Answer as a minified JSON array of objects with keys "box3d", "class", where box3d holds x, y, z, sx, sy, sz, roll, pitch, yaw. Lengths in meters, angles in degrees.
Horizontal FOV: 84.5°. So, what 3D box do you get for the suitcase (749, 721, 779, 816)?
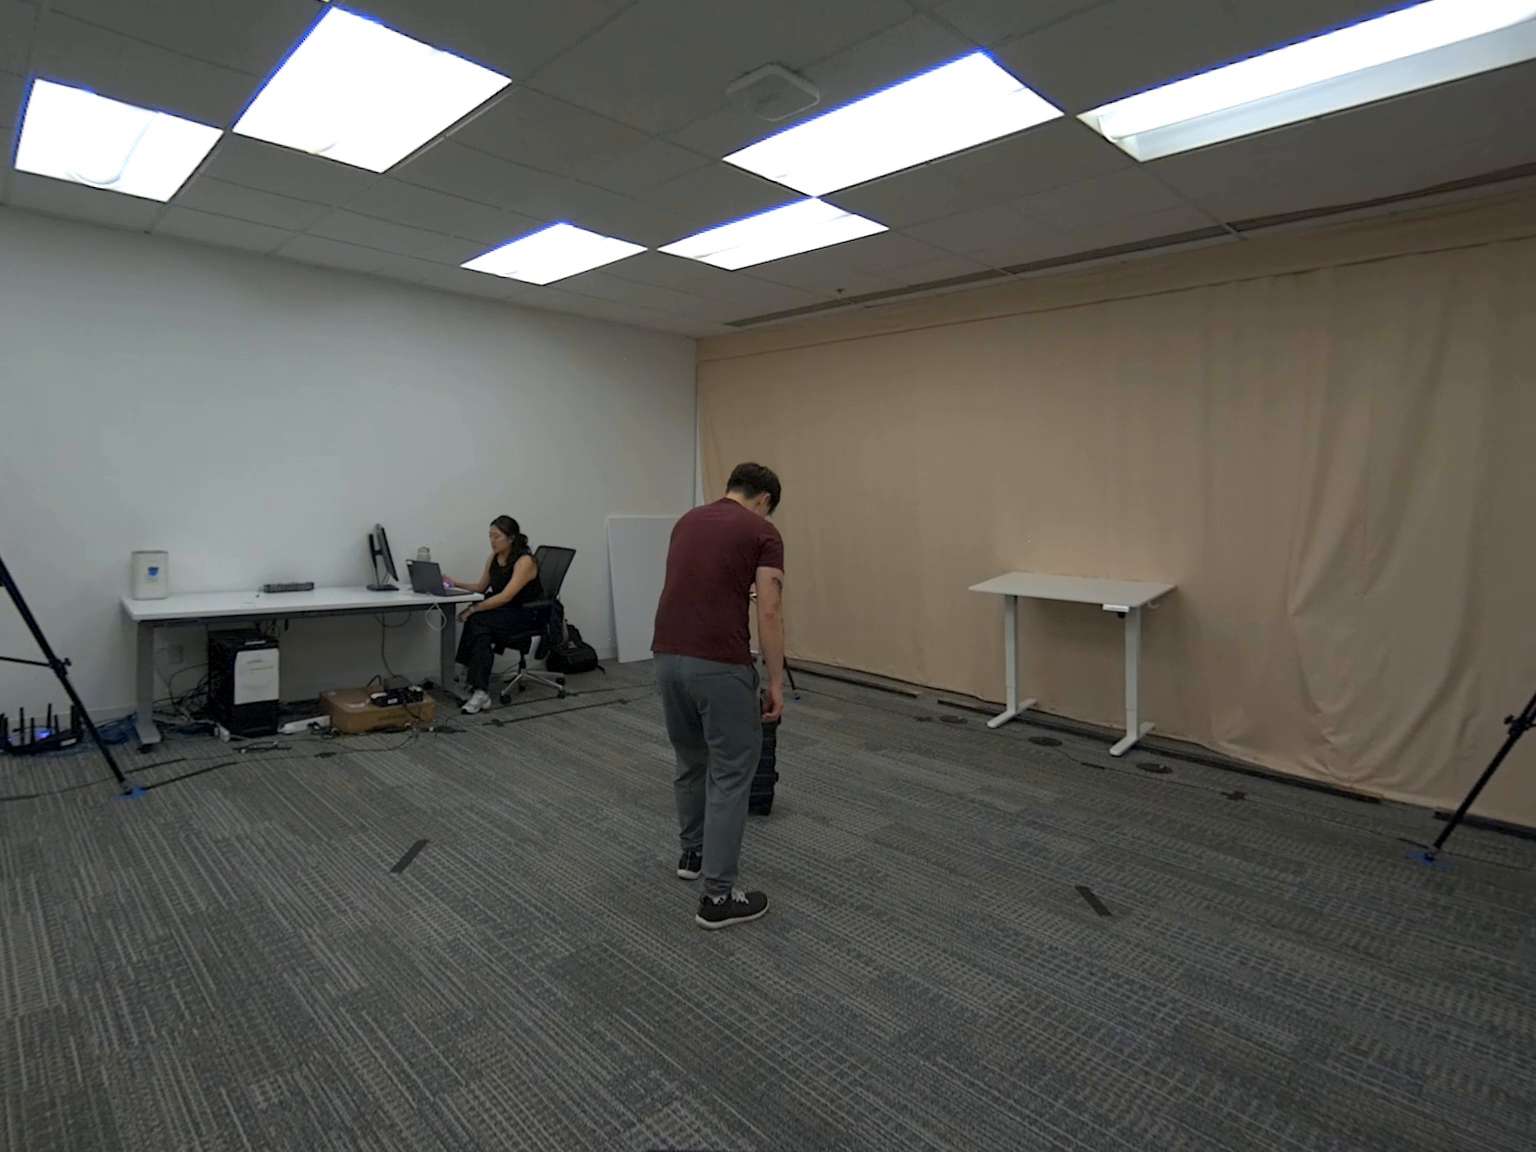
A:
[{"box3d":[-0.151,0.573,3.761,0.380,0.977,0.260,2,2,-13],"class":"suitcase"}]
